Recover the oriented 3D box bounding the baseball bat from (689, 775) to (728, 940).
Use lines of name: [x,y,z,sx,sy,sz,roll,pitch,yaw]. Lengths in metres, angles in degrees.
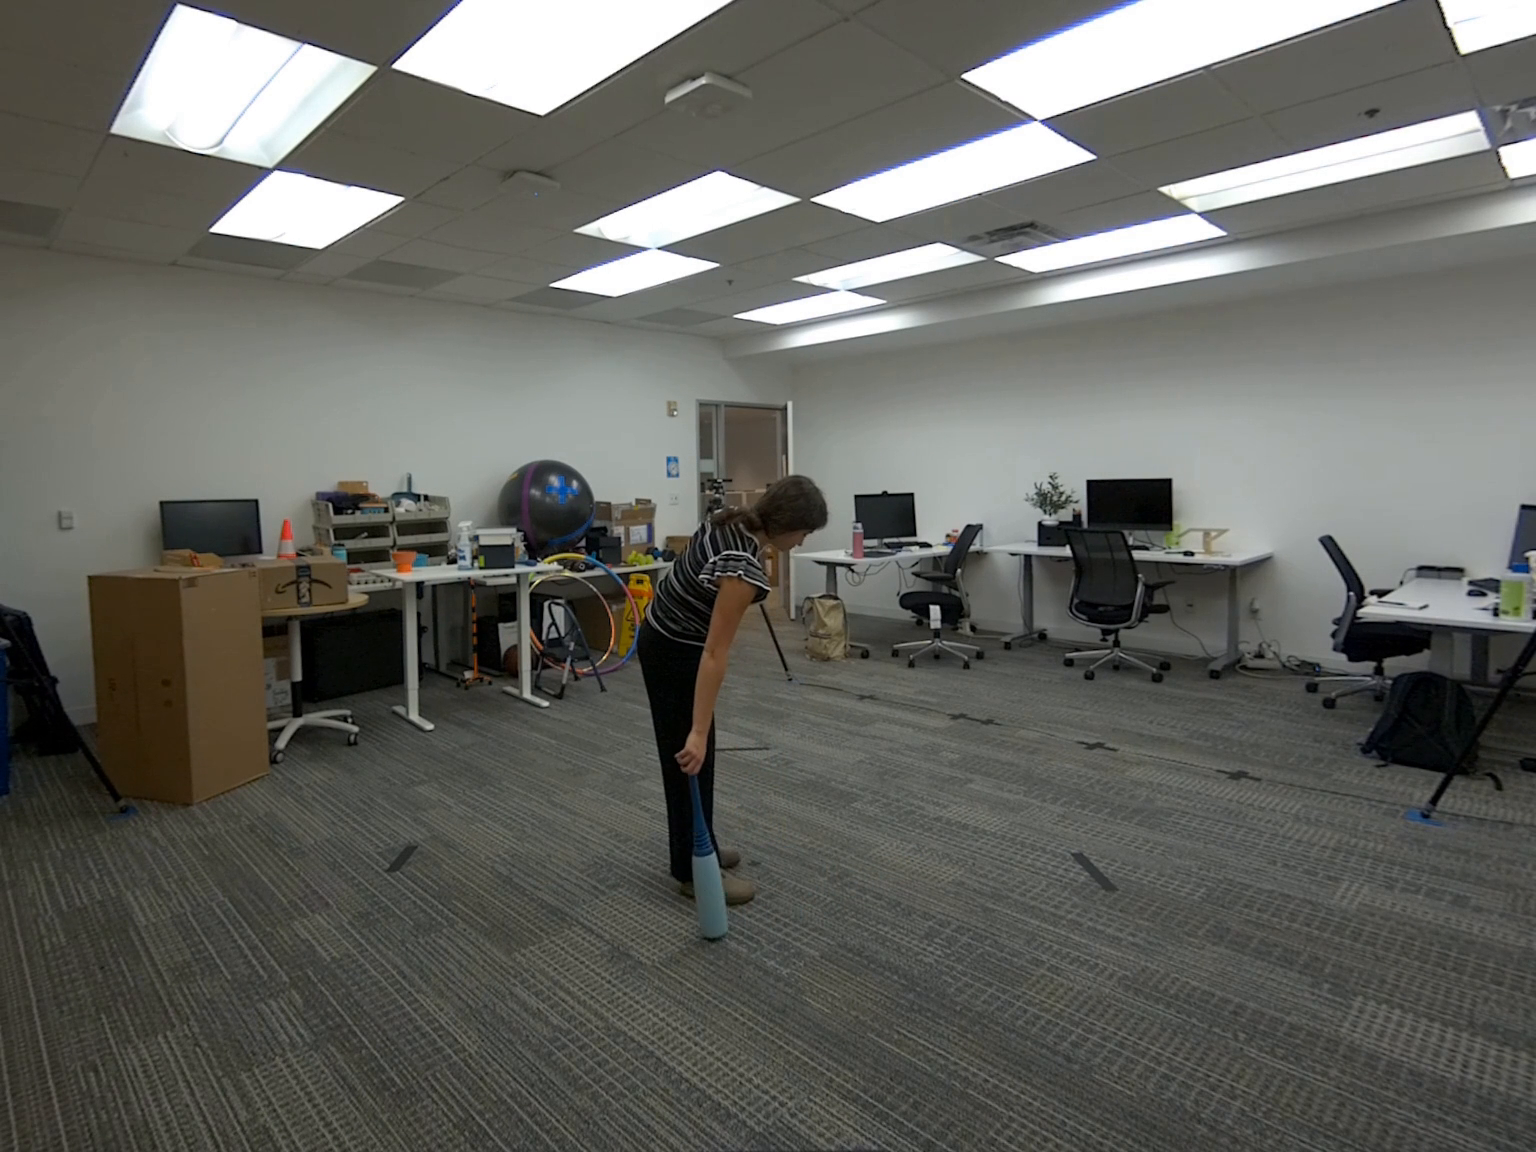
baseball bat: [-0.202,0.839,2.627,0.089,0.543,0.089,-7,0,-1]
